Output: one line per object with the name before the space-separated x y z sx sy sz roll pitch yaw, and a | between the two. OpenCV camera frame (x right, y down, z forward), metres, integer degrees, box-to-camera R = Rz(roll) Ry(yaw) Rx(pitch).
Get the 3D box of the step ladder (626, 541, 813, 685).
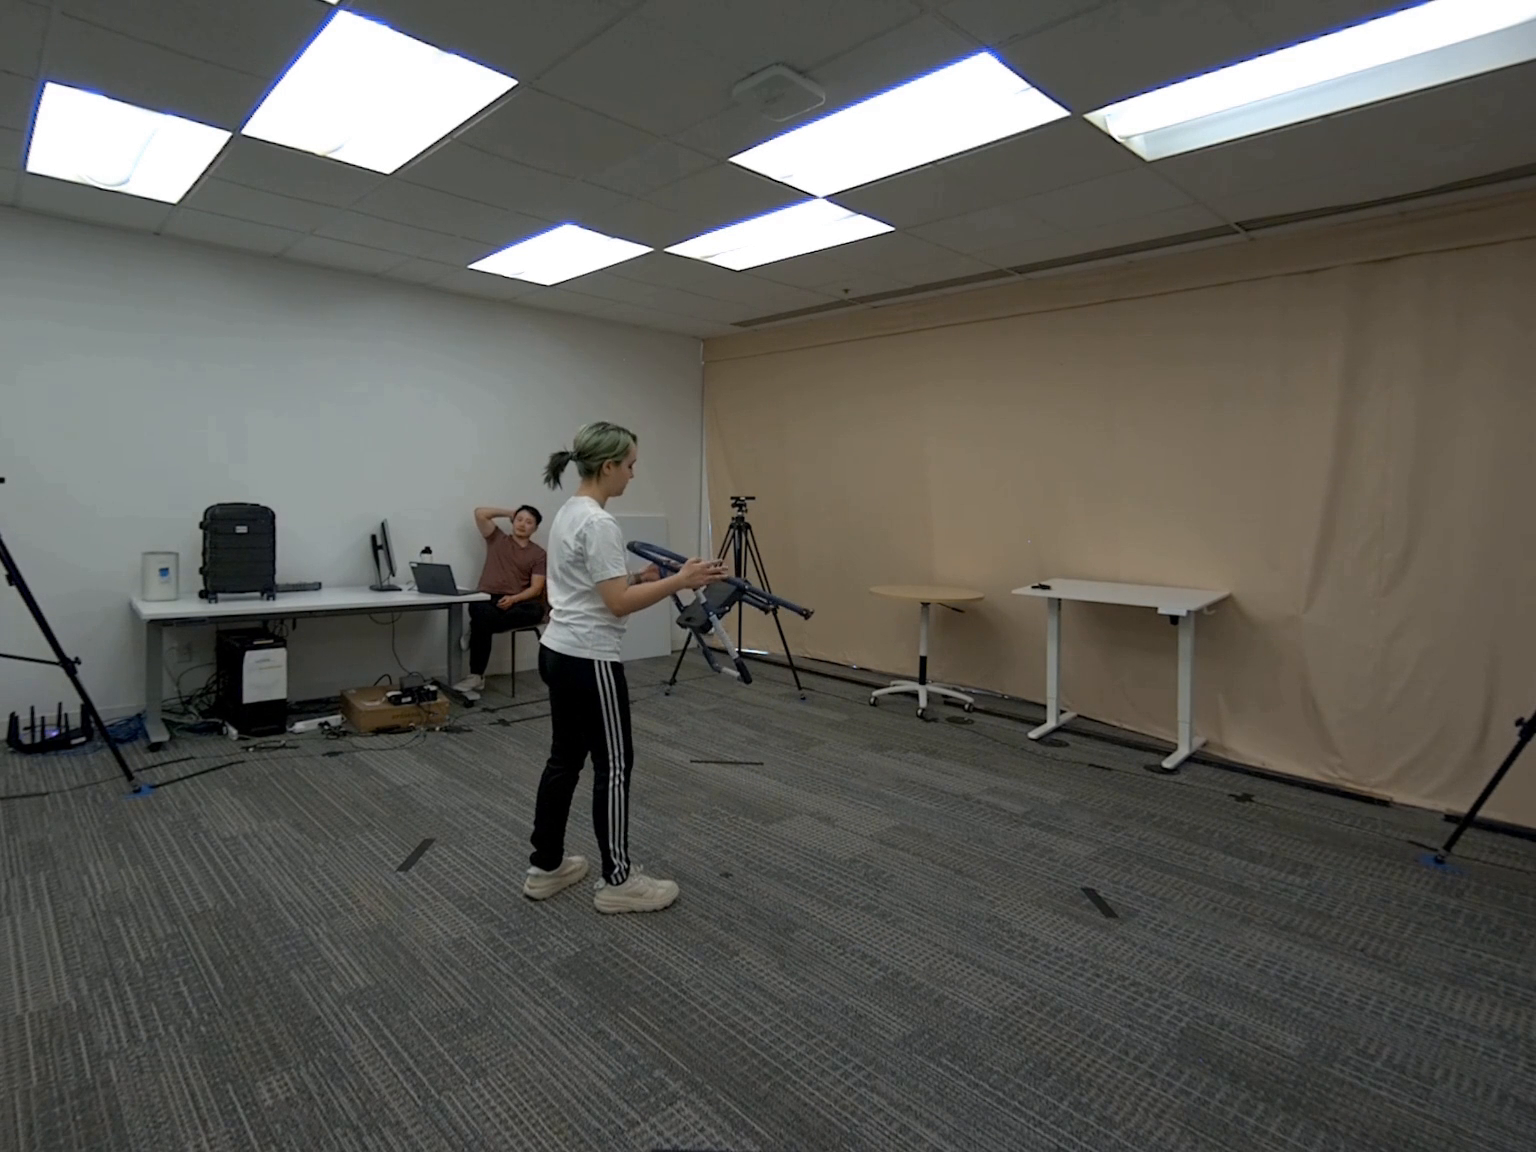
step ladder | -0.230 0.041 3.049 0.598 0.349 0.436 46 -15 -13
